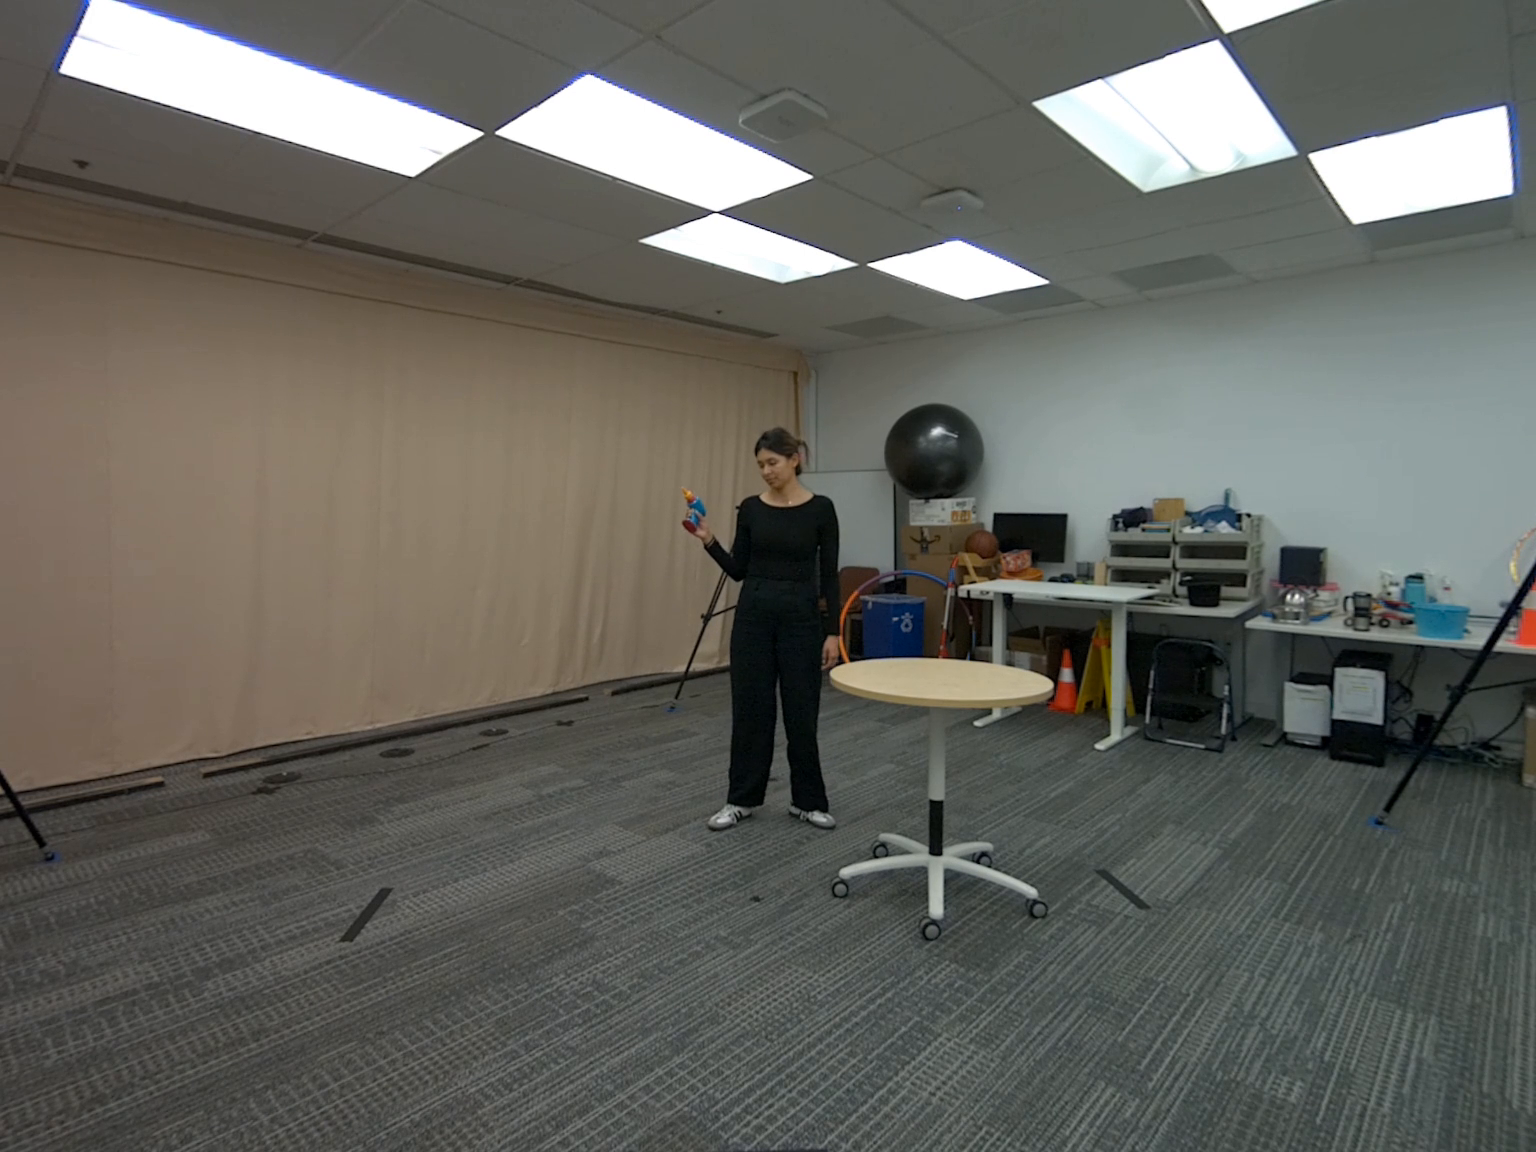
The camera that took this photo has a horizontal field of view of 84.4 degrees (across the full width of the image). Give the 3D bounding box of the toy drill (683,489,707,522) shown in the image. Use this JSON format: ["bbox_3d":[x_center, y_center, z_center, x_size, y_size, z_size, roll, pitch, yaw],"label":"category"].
[{"bbox_3d":[-0.327,-0.283,3.553,0.062,0.165,0.147,-11,39,29],"label":"toy drill"}]
